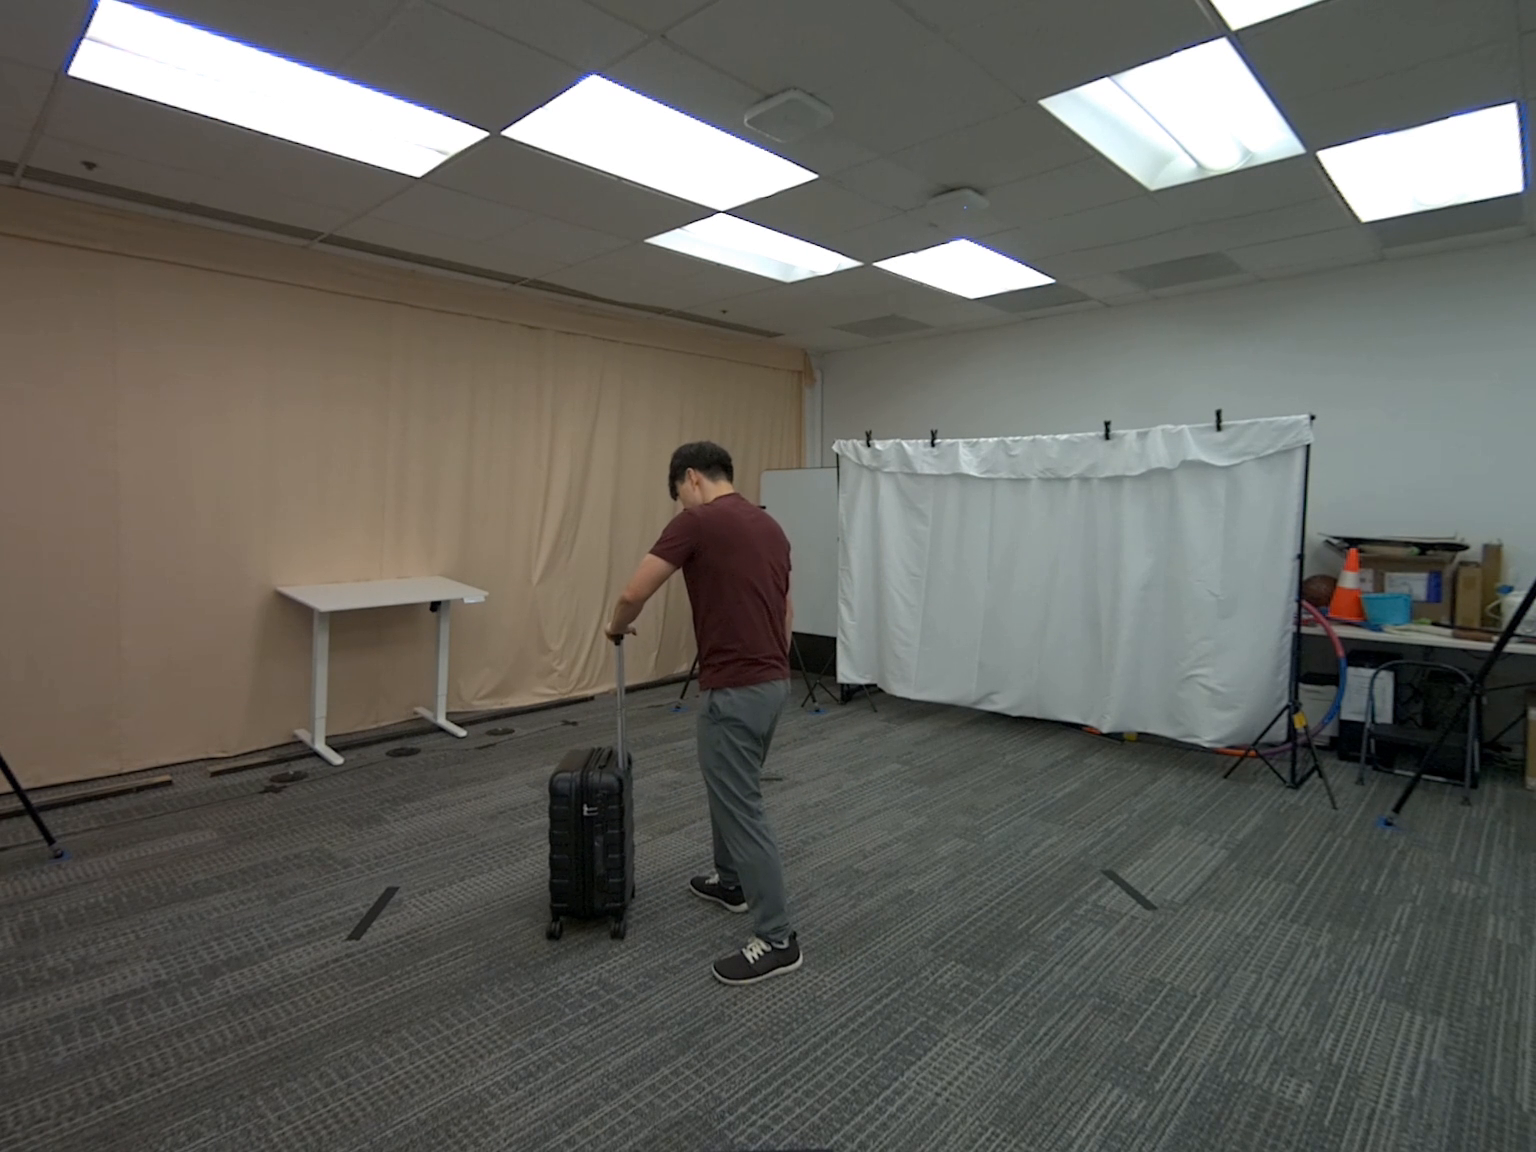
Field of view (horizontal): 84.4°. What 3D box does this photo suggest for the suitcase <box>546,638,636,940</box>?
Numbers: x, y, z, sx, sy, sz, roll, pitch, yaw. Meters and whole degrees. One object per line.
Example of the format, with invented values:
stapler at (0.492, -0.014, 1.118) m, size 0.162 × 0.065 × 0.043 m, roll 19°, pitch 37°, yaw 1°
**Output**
suitcase at (-0.609, 0.681, 2.869) m, size 0.257 × 0.978 × 0.385 m, roll -3°, pitch 1°, yaw -2°
